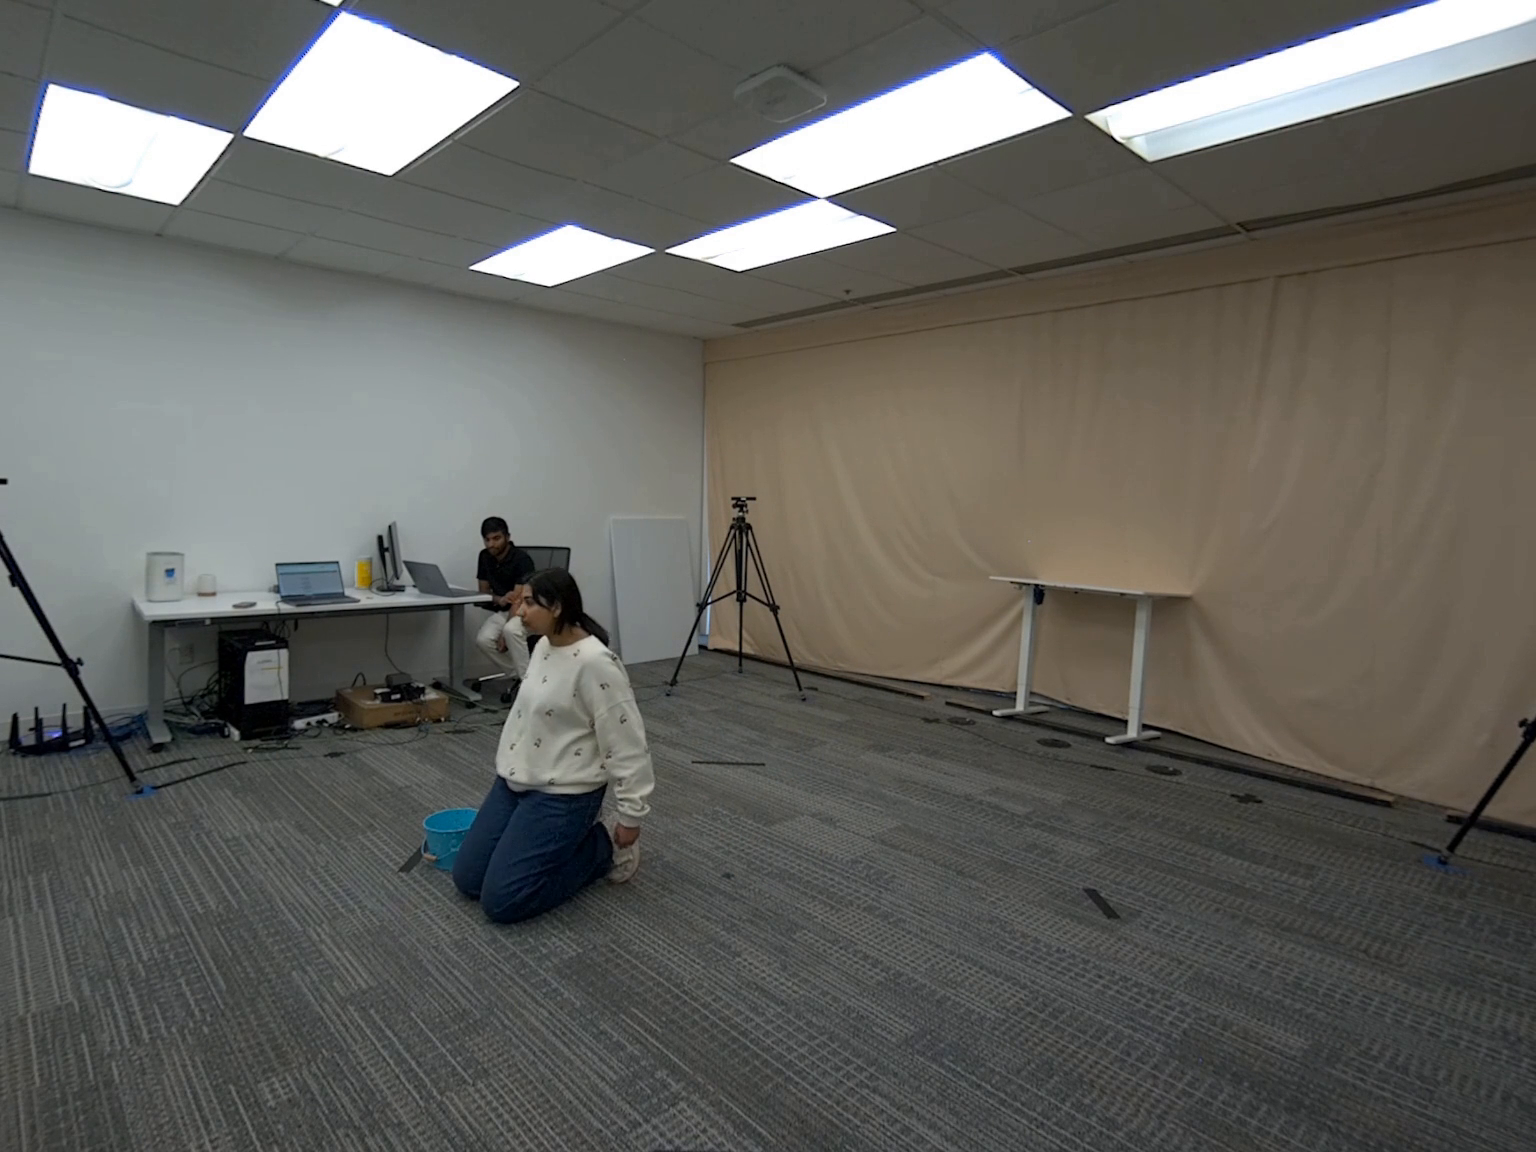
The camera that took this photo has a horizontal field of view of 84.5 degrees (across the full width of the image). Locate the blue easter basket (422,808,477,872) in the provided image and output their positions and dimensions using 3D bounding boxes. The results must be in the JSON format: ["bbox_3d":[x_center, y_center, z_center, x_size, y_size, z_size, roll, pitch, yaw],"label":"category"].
[{"bbox_3d":[-1.180,0.994,3.201,0.243,0.155,0.244,2,5,-2],"label":"blue easter basket"}]
